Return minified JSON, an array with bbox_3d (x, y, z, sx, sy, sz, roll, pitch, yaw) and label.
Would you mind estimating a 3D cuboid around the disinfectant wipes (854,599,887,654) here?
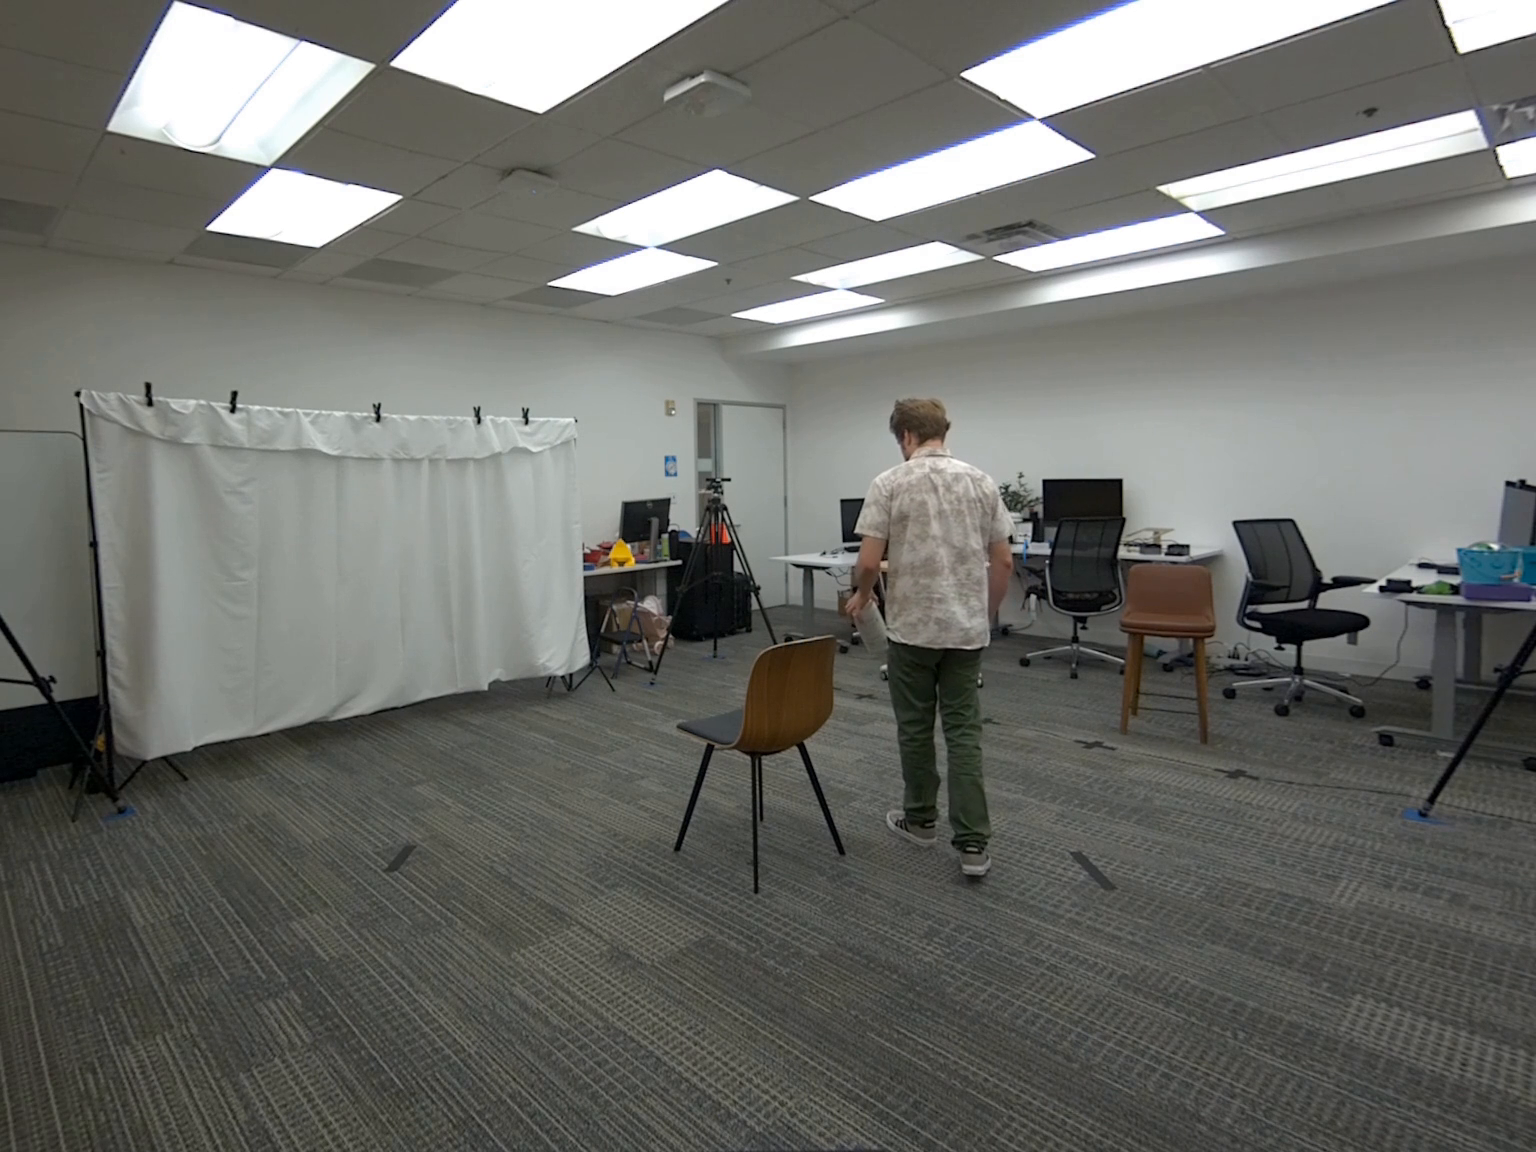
[{"bbox_3d":[0.419,0.211,3.438,0.118,0.211,0.120,-19,26,8],"label":"disinfectant wipes"}]
